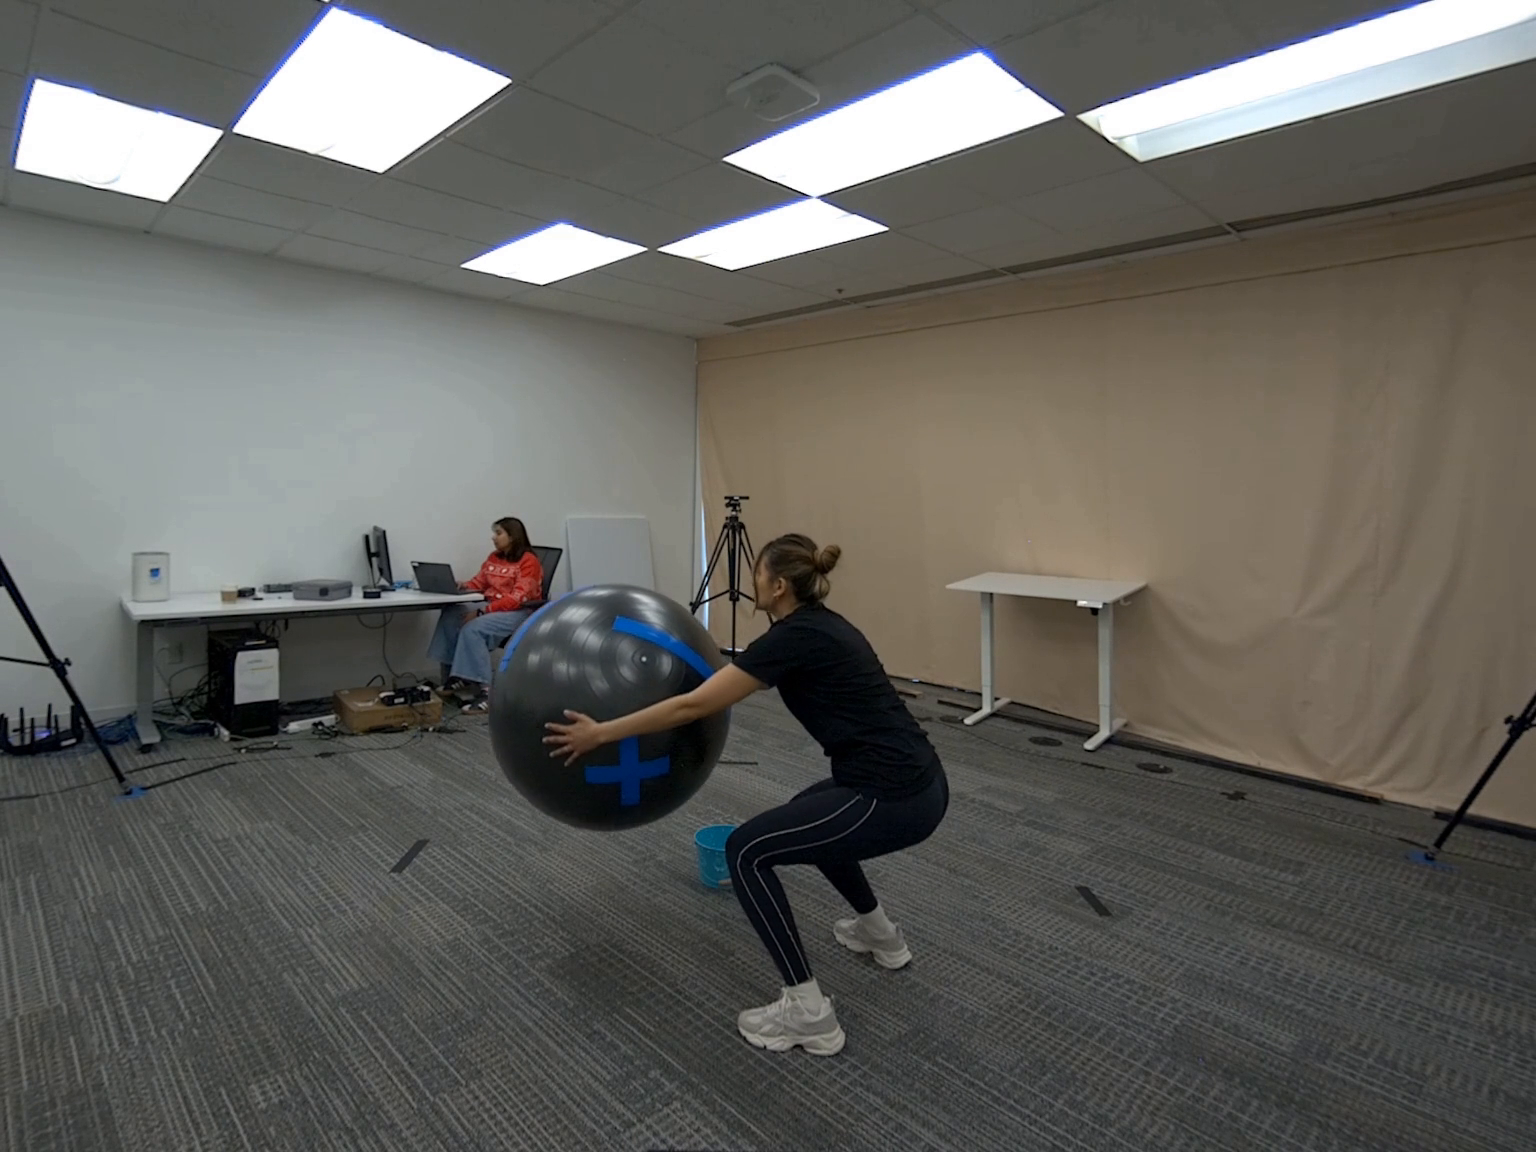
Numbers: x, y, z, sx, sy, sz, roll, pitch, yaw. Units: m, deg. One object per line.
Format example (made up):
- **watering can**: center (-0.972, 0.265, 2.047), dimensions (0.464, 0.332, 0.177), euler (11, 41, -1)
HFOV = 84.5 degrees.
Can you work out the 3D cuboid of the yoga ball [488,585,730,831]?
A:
- **yoga ball**: center (-0.496, 0.411, 2.654), dimensions (0.757, 0.756, 0.761), euler (1, 4, -1)
